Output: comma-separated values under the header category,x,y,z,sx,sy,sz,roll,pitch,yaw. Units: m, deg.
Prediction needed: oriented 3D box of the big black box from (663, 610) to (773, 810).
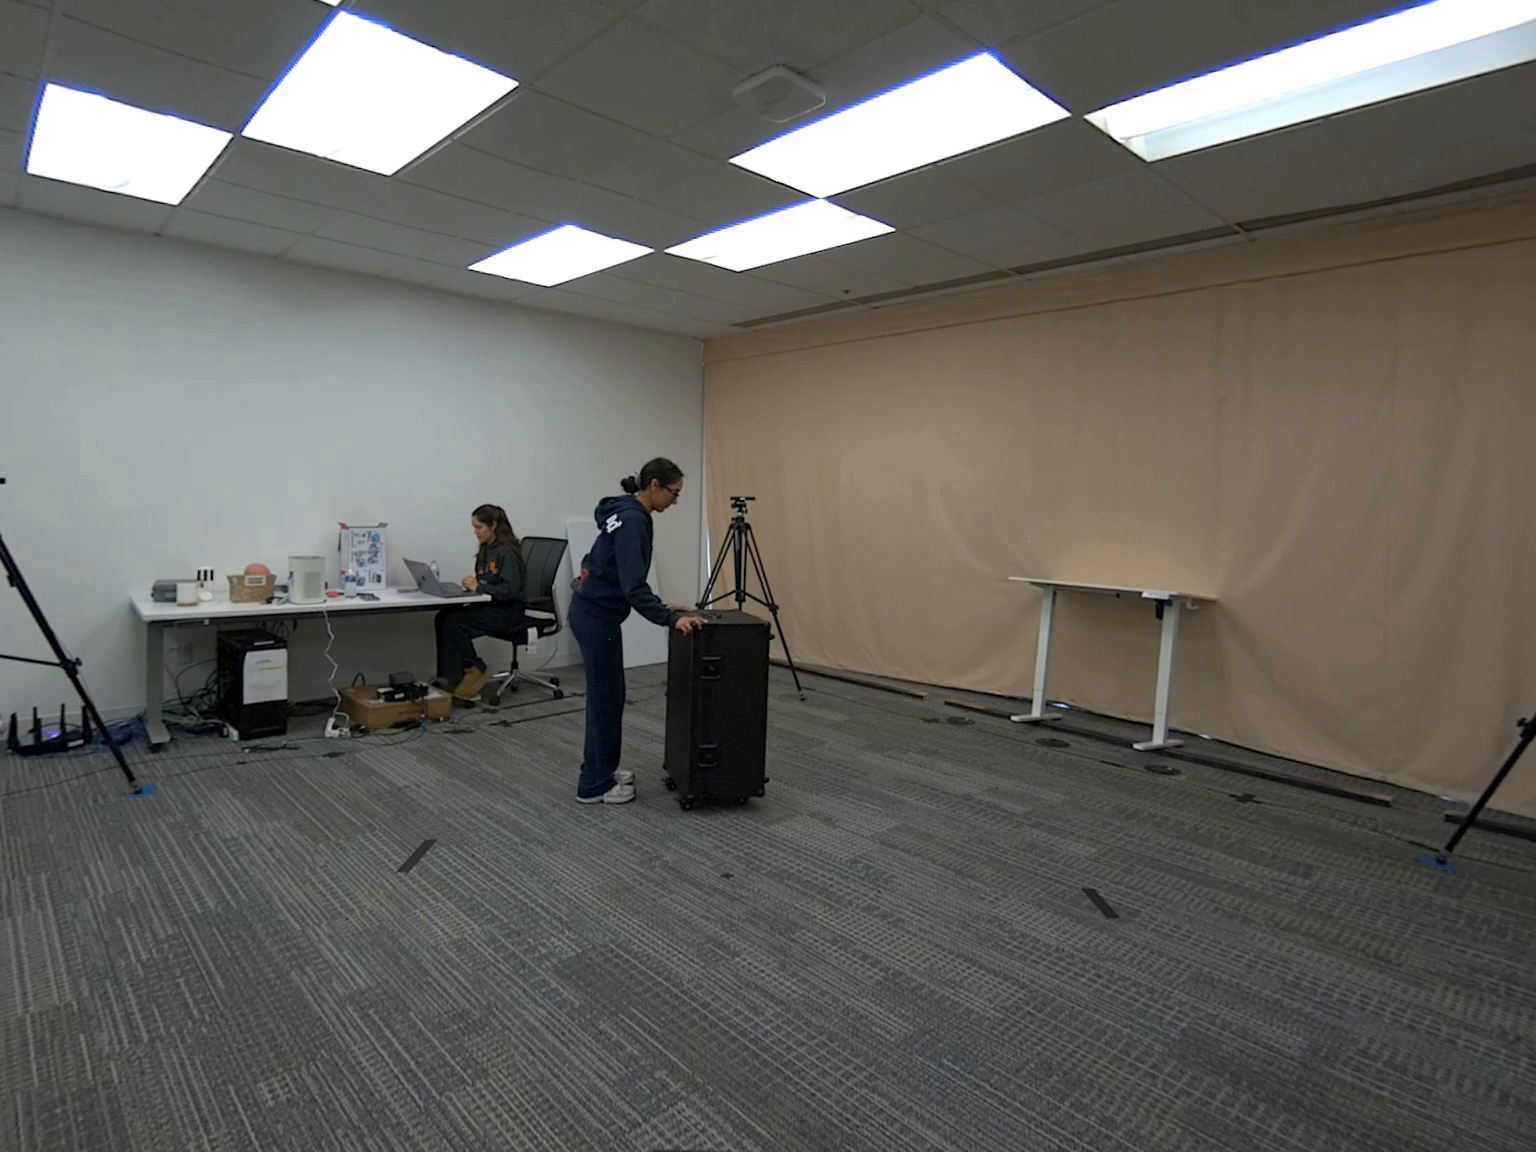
category,x,y,z,sx,sy,sz,roll,pitch,yaw
big black box,-0.254,0.607,3.929,0.390,0.860,0.530,2,3,-20
